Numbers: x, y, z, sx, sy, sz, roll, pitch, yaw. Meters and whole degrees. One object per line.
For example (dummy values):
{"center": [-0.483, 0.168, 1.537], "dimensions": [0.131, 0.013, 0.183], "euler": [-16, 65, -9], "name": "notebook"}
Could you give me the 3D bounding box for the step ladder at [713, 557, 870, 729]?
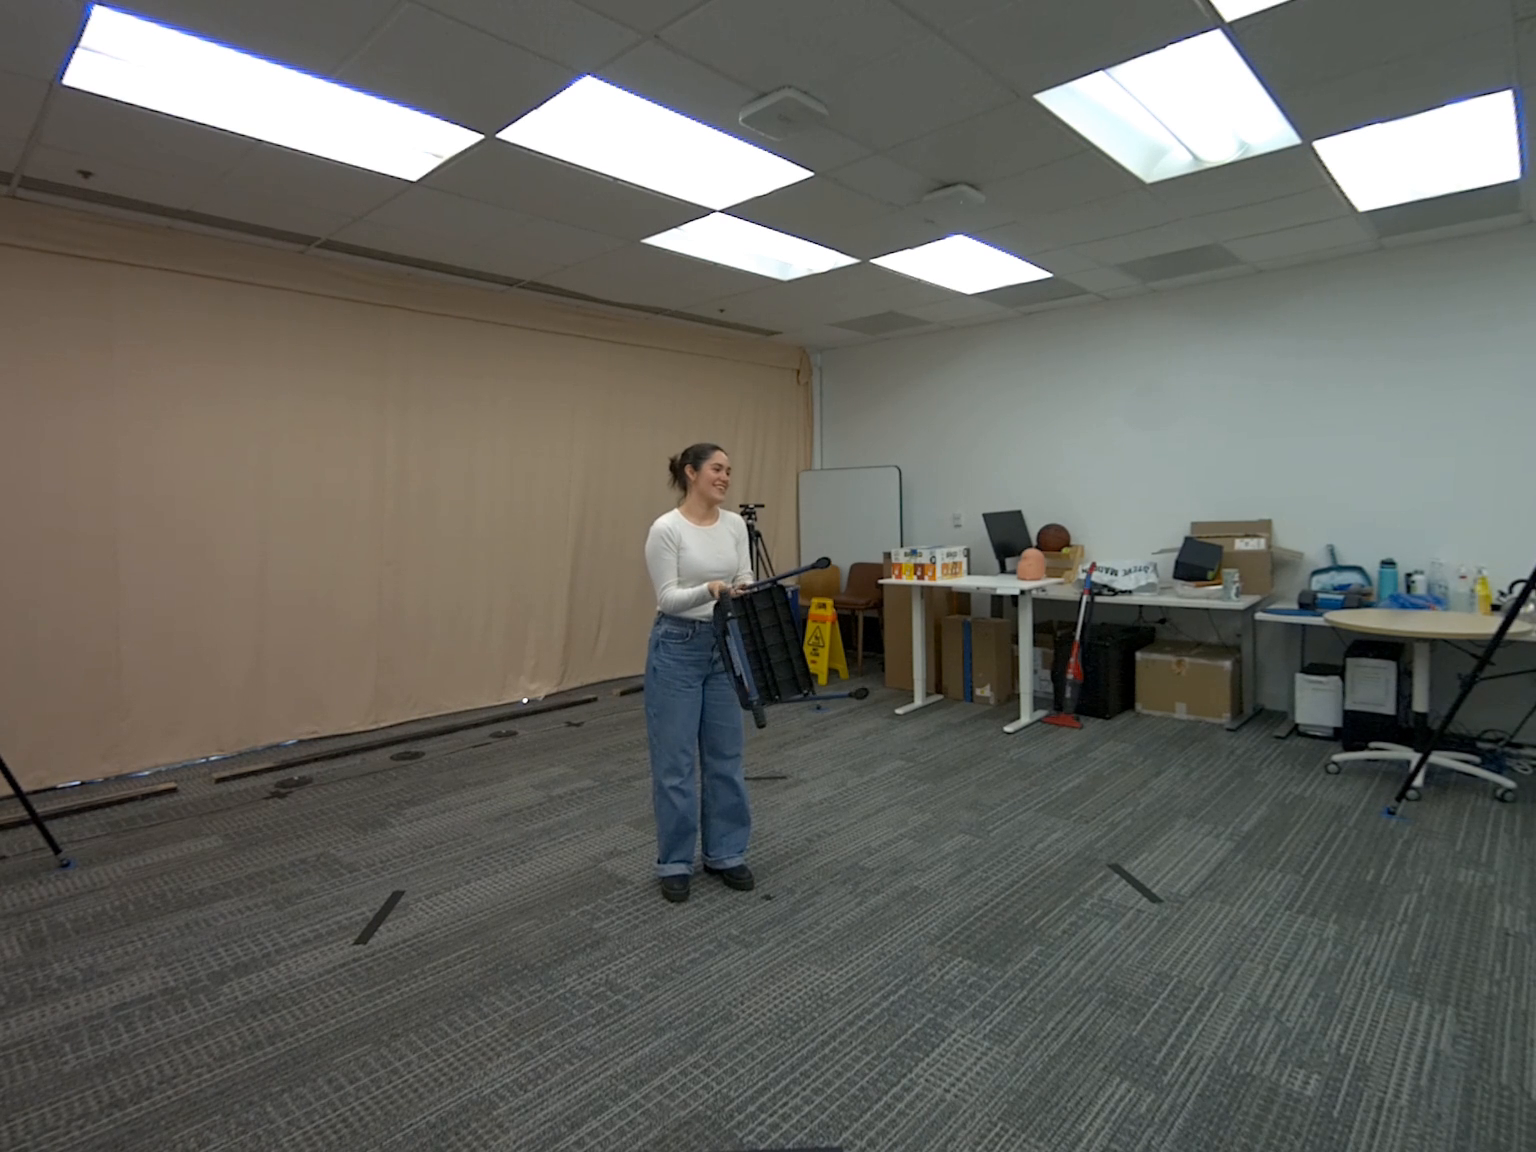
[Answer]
{"center": [-0.004, 0.224, 2.721], "dimensions": [0.345, 0.432, 0.612], "euler": [-14, -3, -16], "name": "step ladder"}
